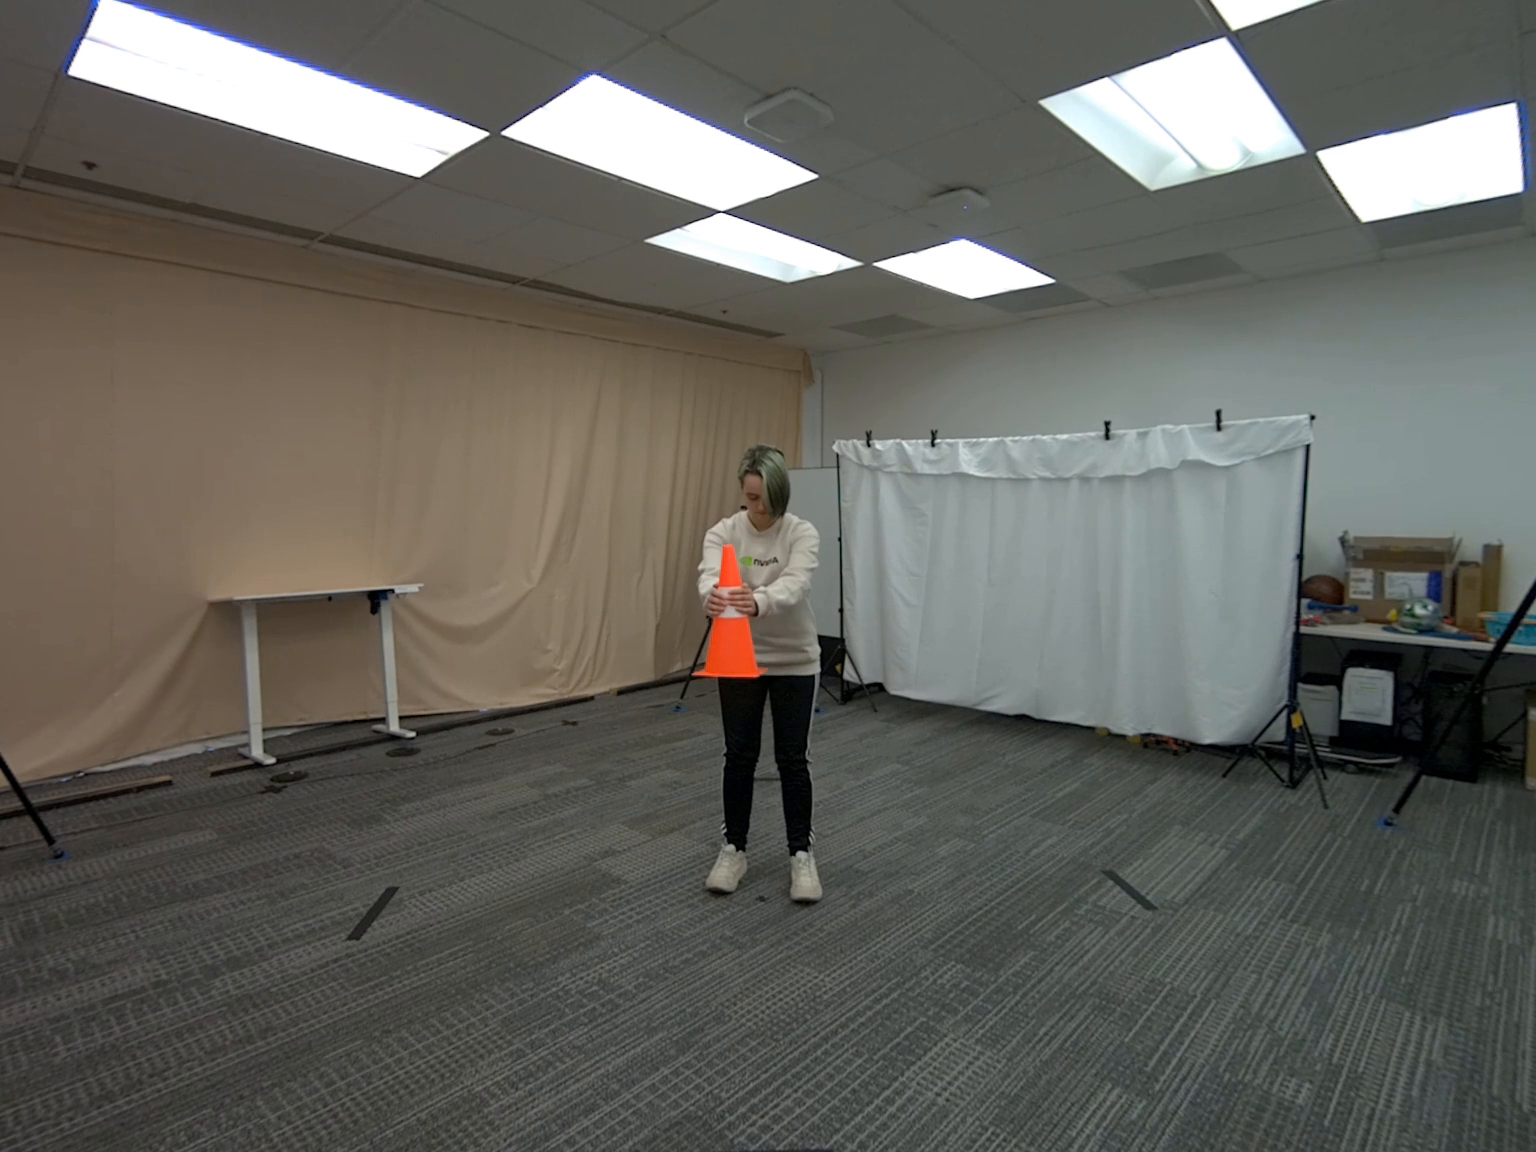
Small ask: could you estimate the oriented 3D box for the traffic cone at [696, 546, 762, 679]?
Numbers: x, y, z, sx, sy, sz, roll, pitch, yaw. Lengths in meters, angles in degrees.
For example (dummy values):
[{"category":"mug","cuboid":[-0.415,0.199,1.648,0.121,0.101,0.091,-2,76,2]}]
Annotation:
[{"category":"traffic cone","cuboid":[-0.109,0.108,2.534,0.210,0.383,0.199,1,1,22]}]
